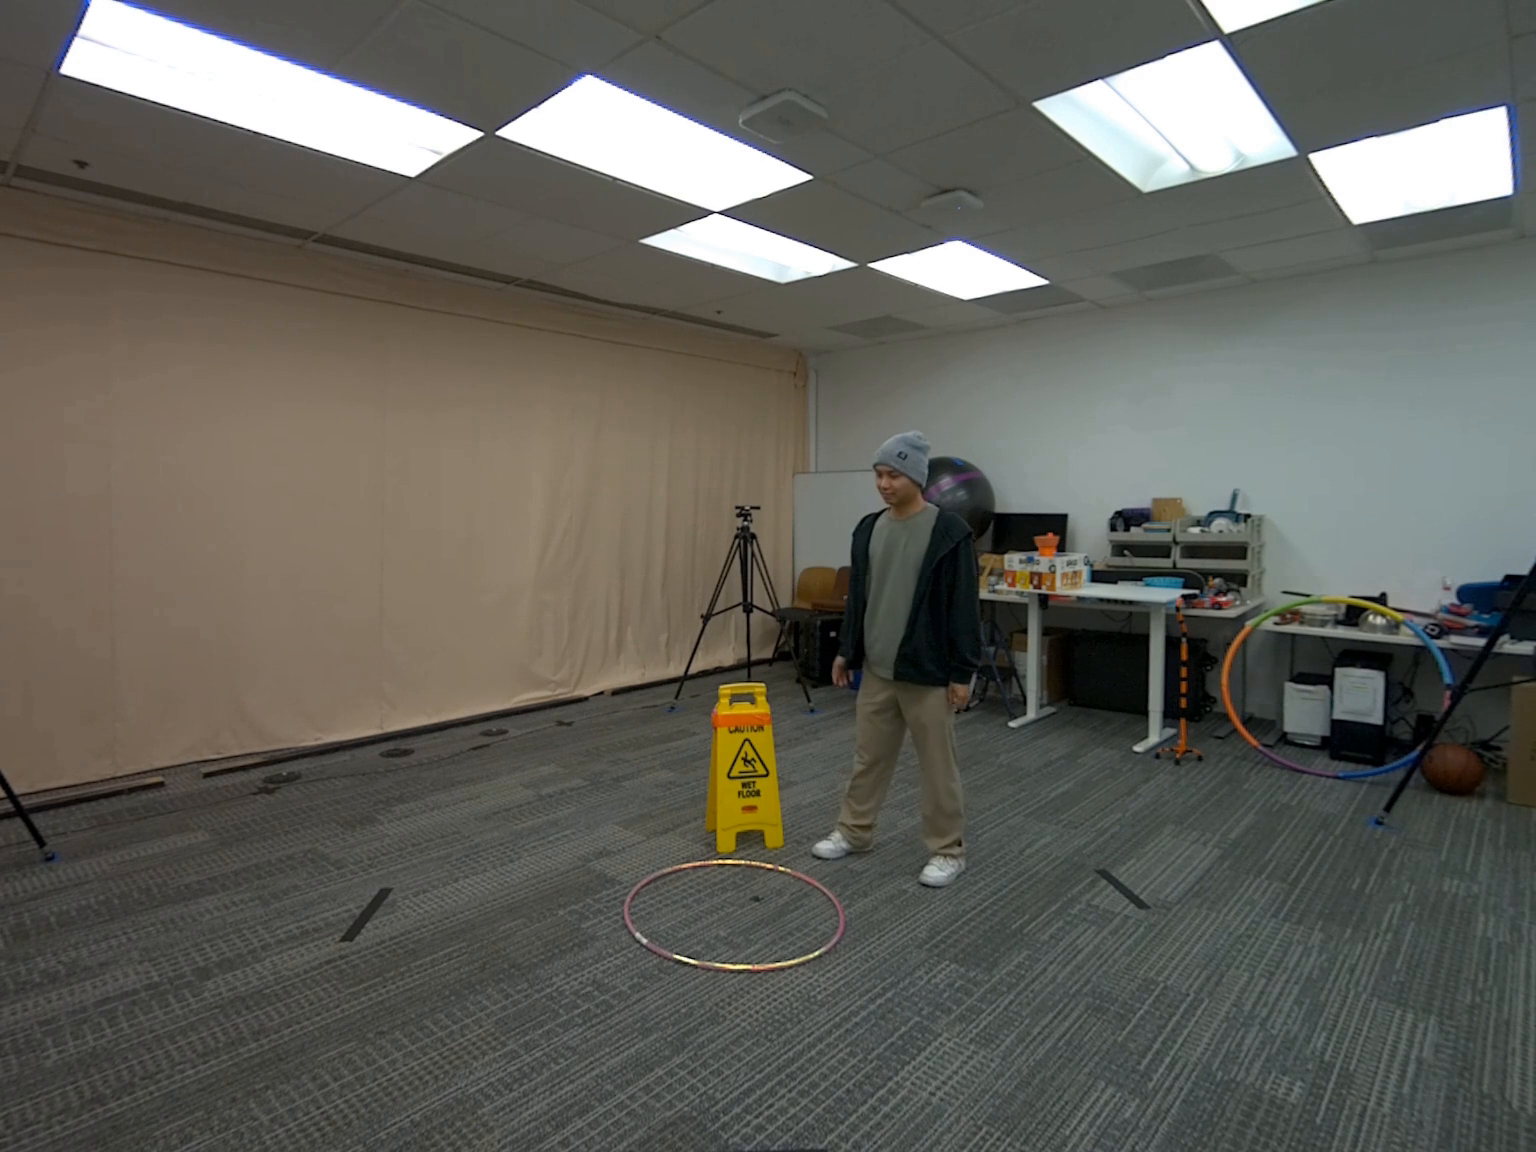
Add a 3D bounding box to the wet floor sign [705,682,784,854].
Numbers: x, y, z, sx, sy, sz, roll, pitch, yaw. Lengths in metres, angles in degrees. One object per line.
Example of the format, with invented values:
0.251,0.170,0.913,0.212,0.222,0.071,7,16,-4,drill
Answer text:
-0.098,0.775,3.513,0.279,0.645,0.294,-1,3,-13,wet floor sign
